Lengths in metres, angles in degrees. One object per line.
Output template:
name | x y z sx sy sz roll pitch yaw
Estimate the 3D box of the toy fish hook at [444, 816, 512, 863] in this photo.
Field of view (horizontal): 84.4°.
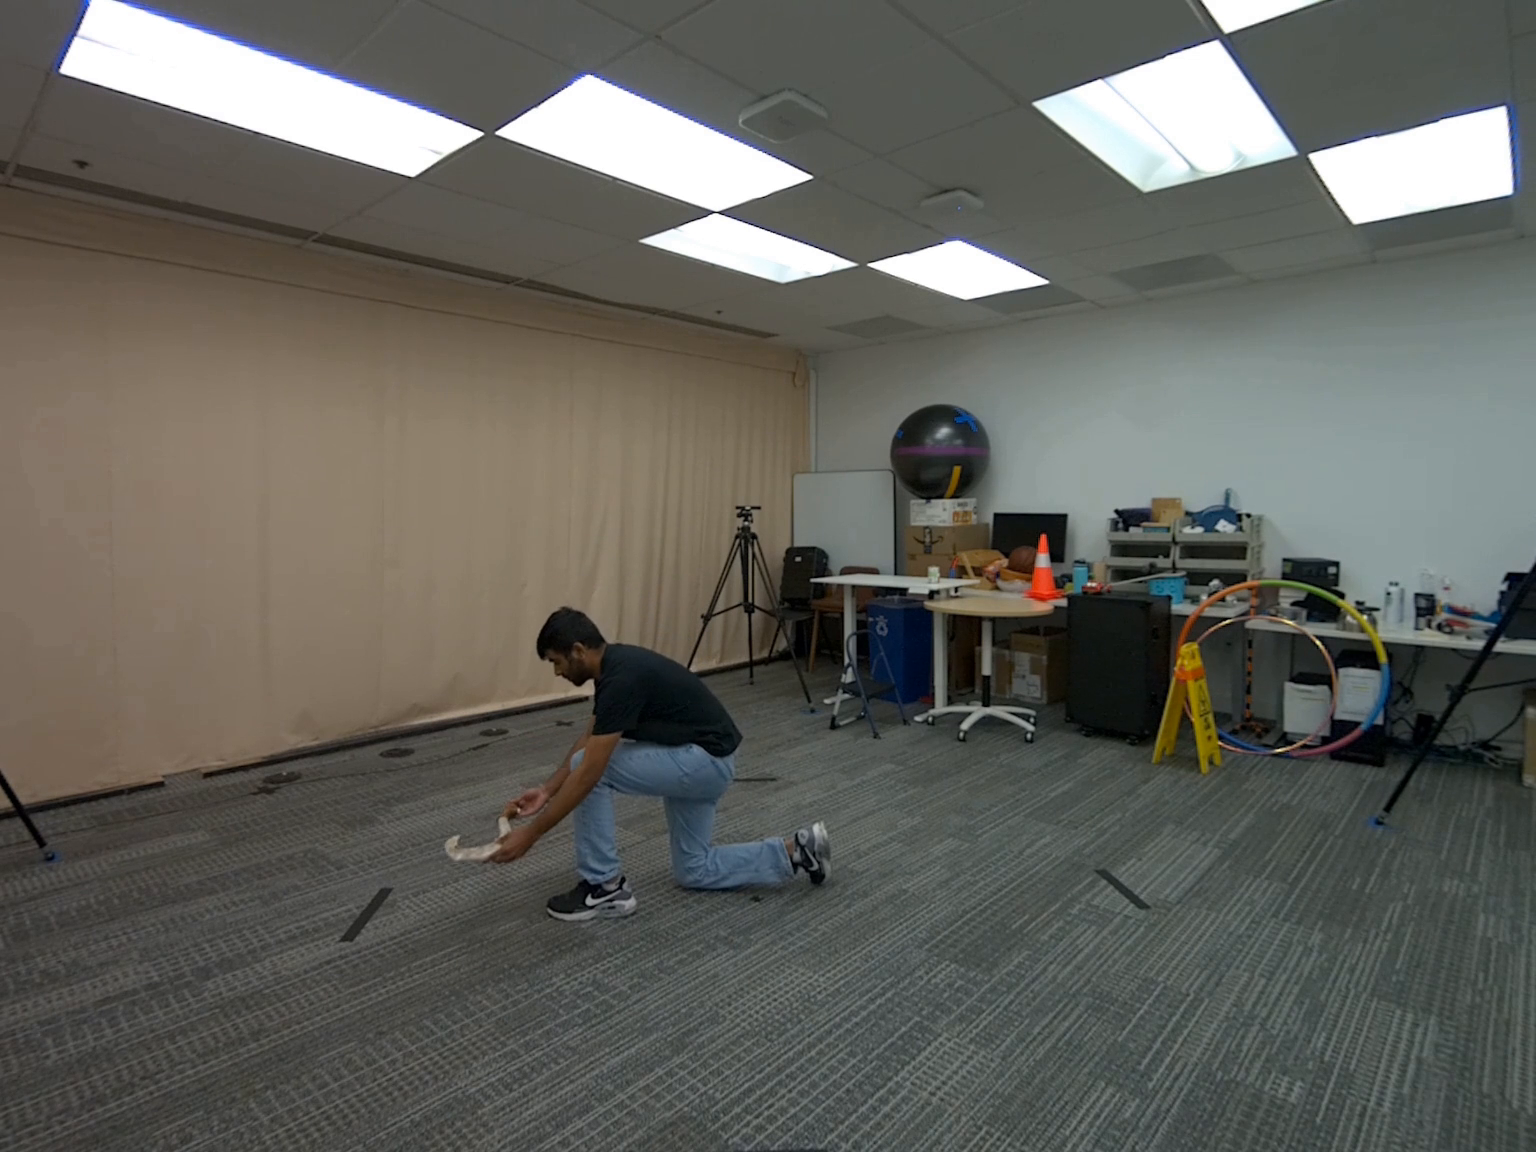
toy fish hook | -0.981 0.879 2.952 0.223 0.048 0.510 0 4 -6
